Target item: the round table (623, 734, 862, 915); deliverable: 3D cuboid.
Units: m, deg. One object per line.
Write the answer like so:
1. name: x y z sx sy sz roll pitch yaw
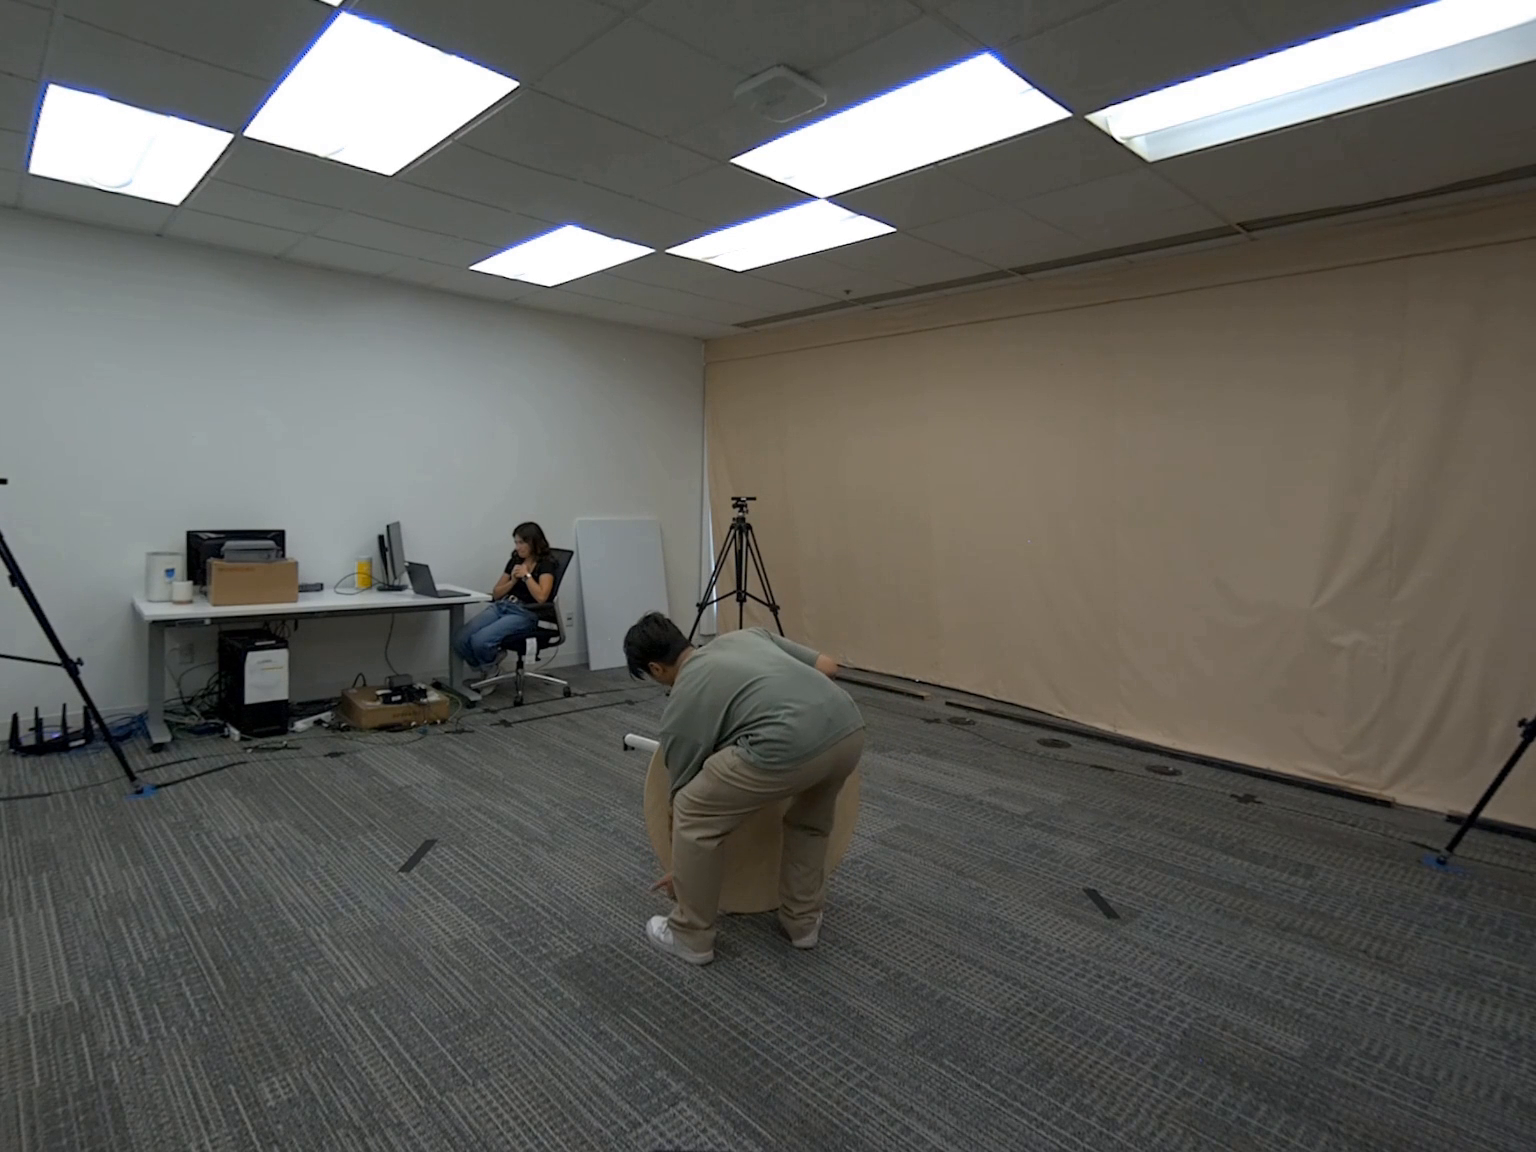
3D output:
1. round table: -0.168 0.763 3.244 0.775 0.787 0.794 0 -3 -16
